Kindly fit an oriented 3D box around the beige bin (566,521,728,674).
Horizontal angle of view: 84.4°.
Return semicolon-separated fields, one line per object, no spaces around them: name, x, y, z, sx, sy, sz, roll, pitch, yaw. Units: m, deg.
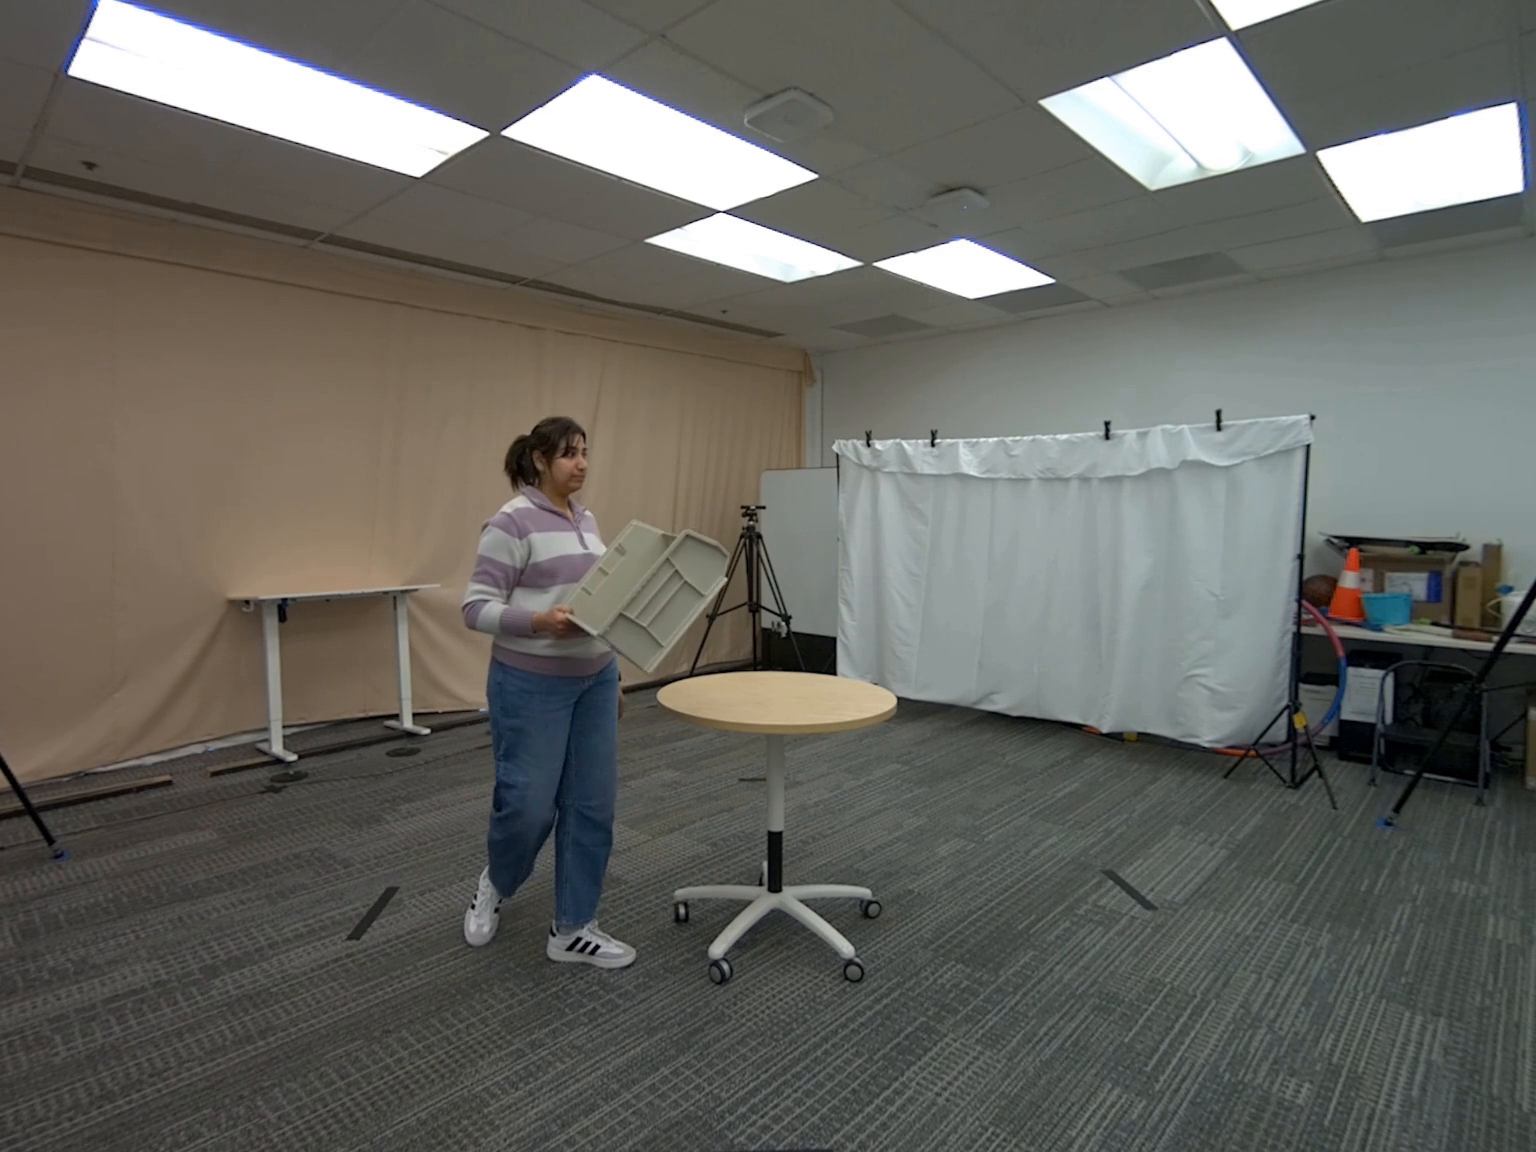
beige bin;-0.328;0.039;2.283;0.184;0.376;0.434;42;-13;-24
